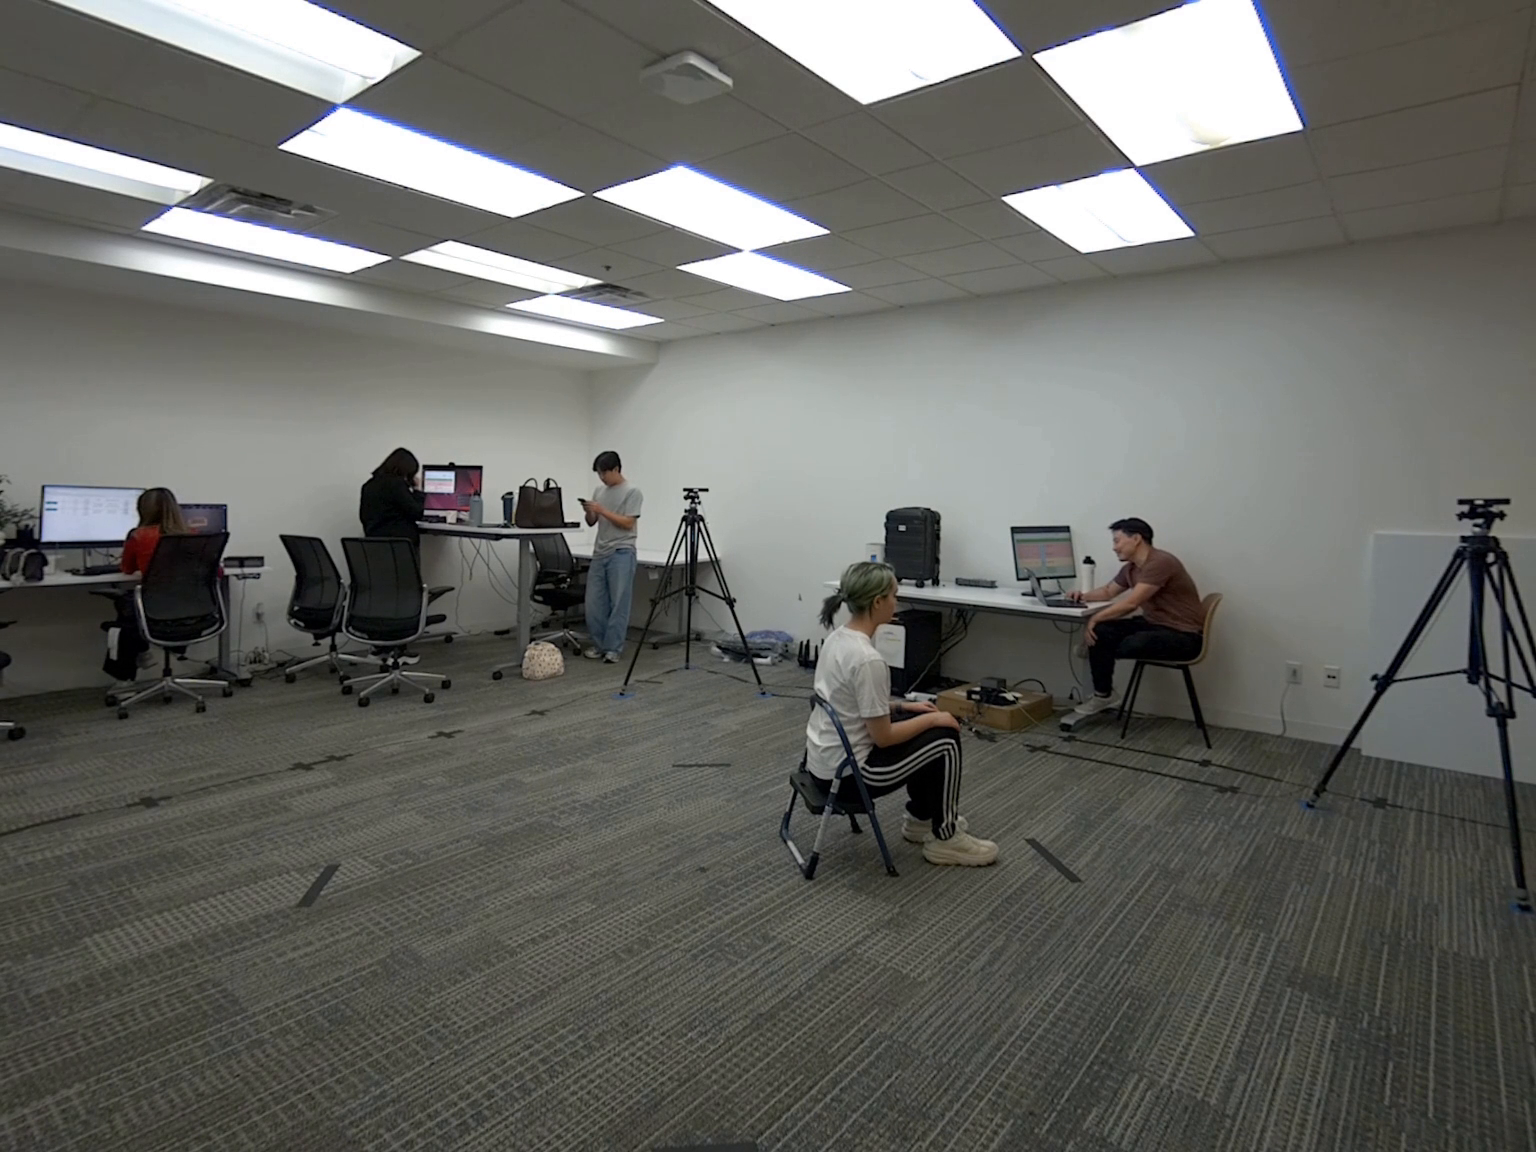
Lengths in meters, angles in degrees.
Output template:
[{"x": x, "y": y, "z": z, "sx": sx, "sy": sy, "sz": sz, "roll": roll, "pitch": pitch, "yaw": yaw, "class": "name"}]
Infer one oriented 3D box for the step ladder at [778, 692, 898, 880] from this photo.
[{"x": 0.257, "y": 0.769, "z": 3.258, "sx": 0.345, "sy": 0.604, "sz": 0.437, "roll": 1, "pitch": 4, "yaw": -13, "class": "step ladder"}]
